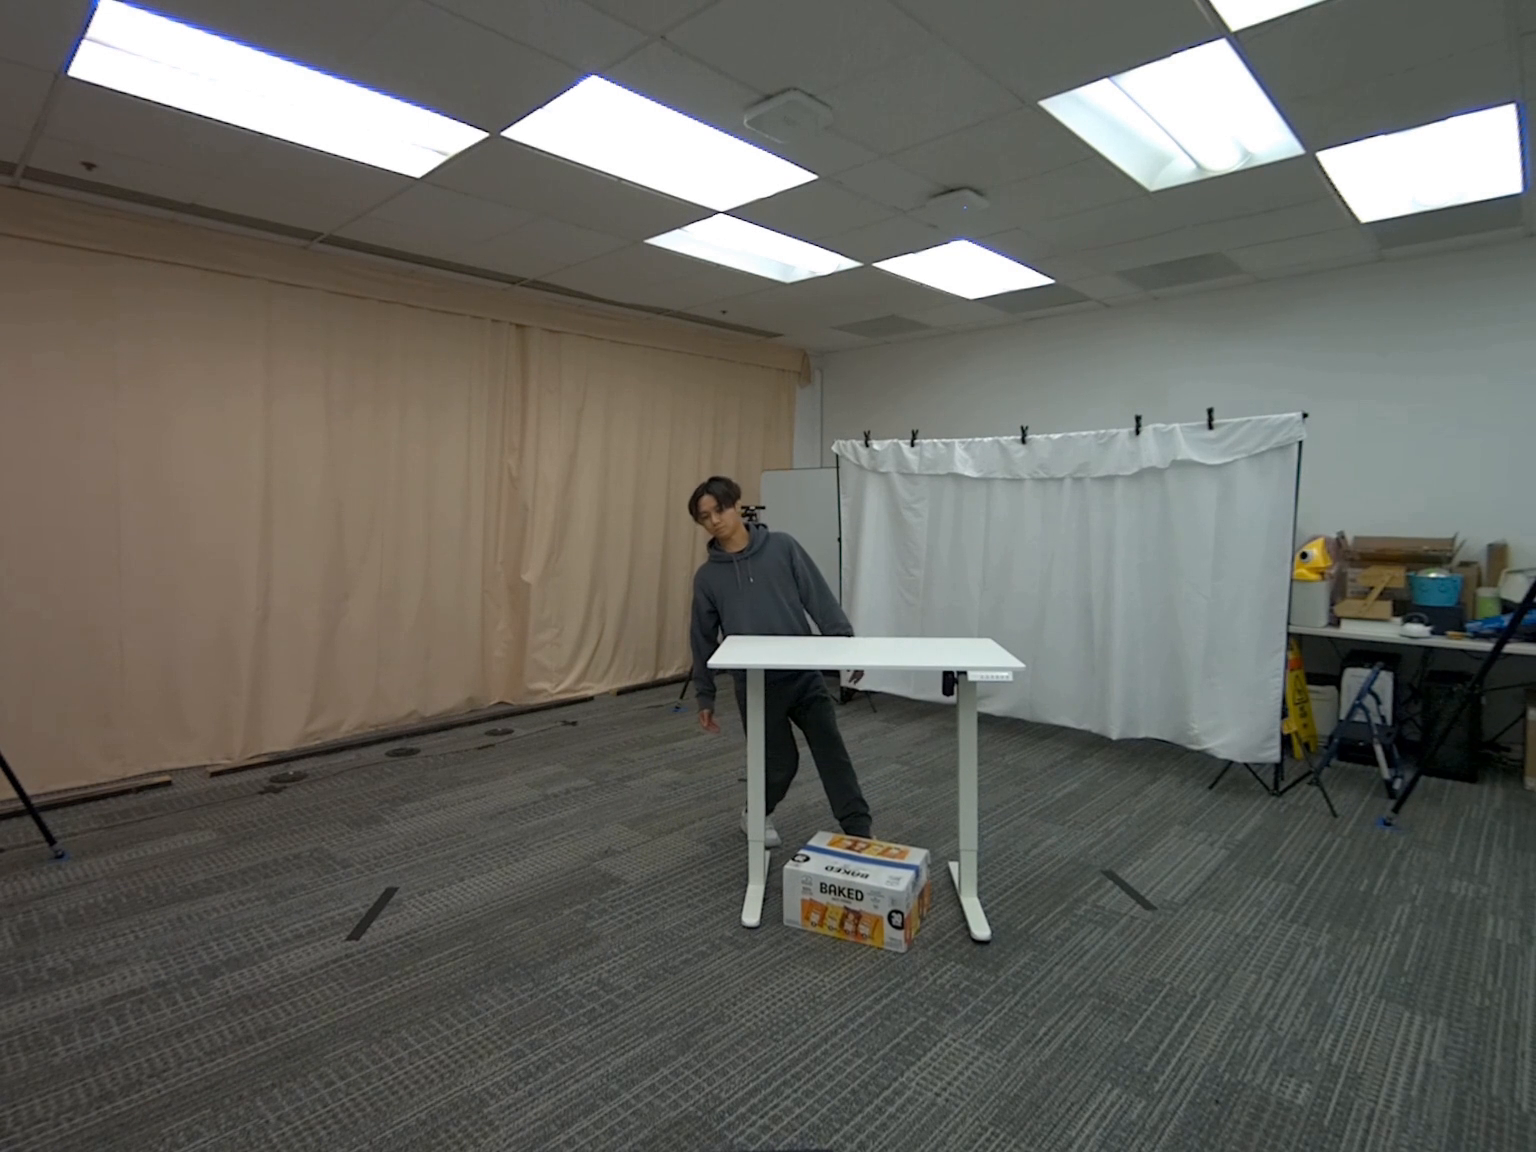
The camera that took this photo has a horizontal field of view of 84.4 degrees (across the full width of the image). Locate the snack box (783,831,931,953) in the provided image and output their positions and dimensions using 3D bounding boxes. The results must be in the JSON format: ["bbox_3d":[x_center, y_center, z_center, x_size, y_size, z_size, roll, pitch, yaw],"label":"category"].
[{"bbox_3d":[0.306,1.051,2.840,0.416,0.205,0.332,2,5,26],"label":"snack box"}]
